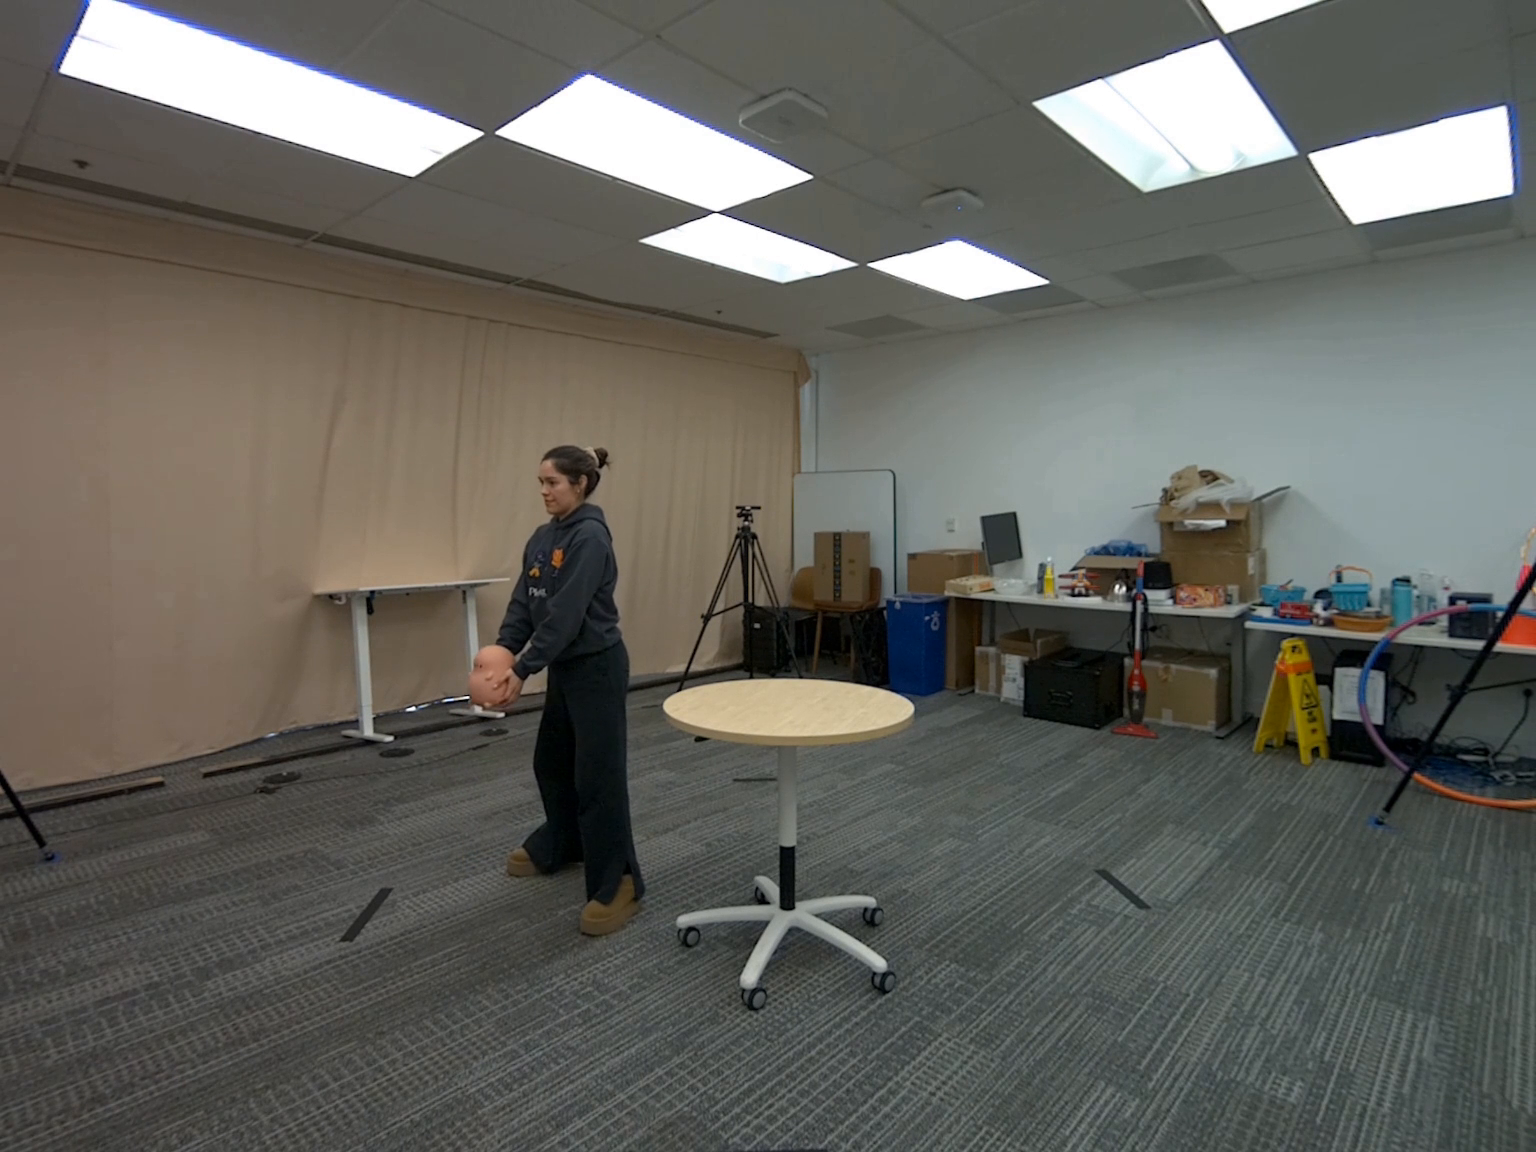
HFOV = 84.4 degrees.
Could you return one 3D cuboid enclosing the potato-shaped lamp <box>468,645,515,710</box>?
[{"bbox_3d":[-0.915,0.348,2.838,0.170,0.198,0.166,-1,4,45],"label":"potato-shaped lamp"}]
